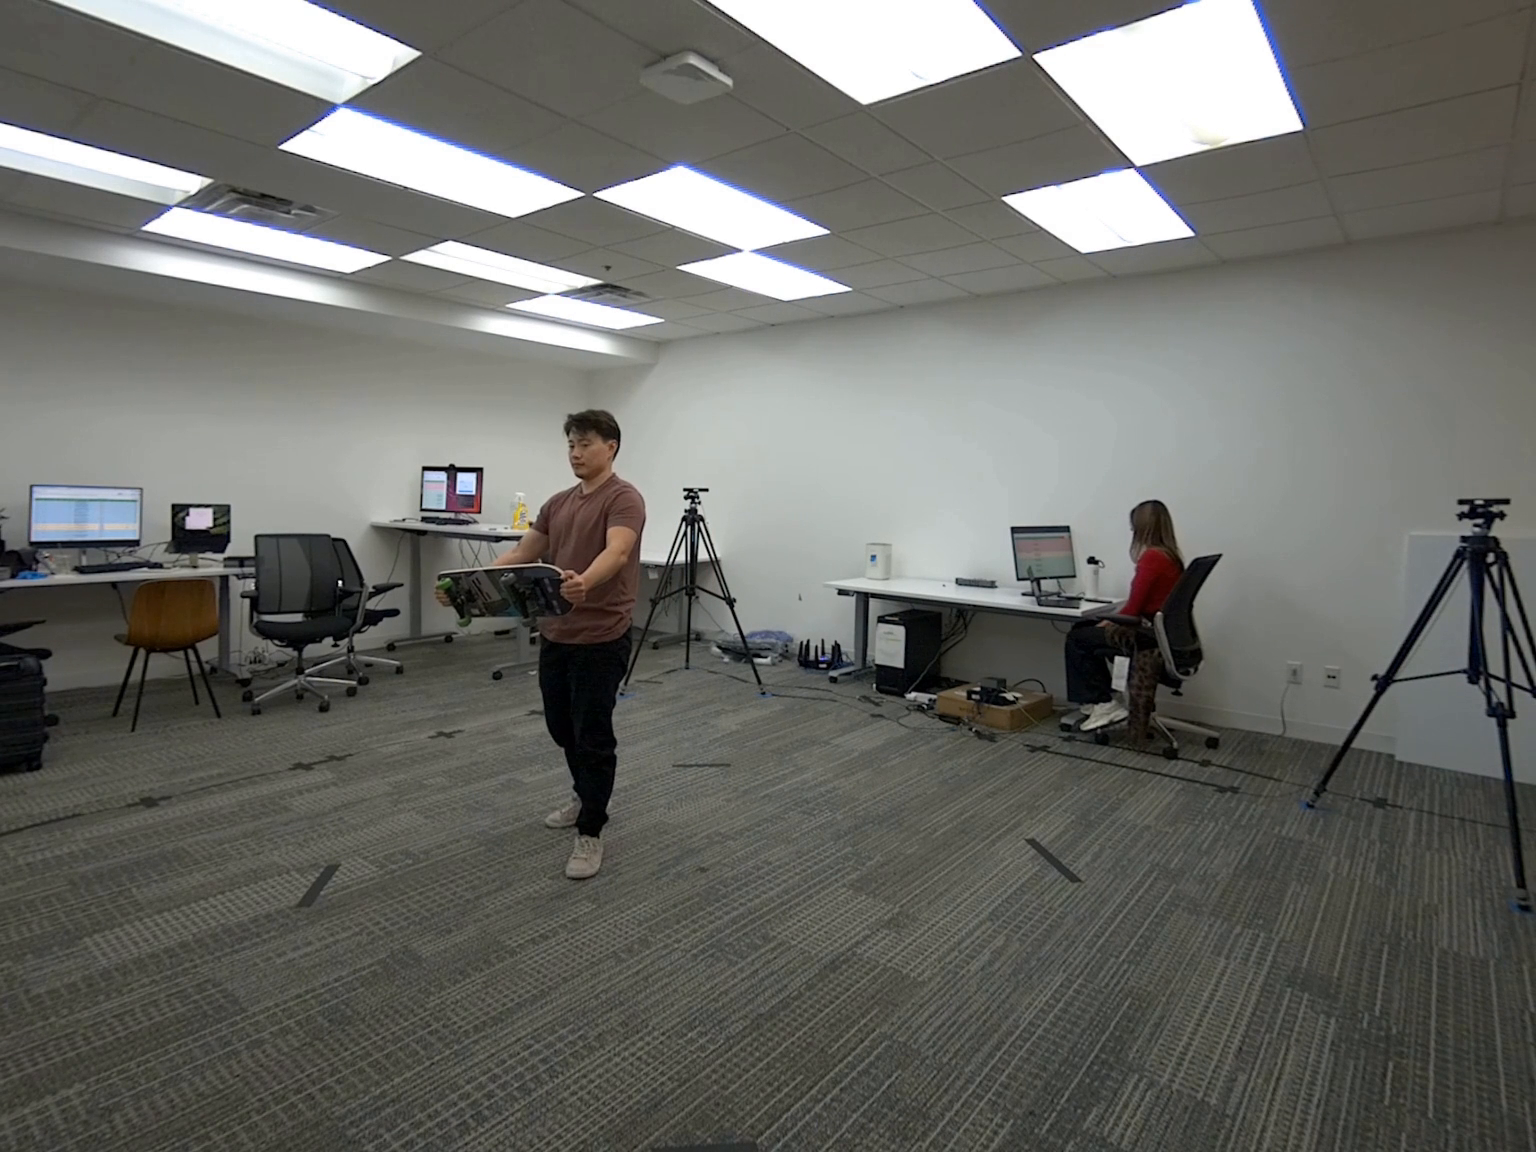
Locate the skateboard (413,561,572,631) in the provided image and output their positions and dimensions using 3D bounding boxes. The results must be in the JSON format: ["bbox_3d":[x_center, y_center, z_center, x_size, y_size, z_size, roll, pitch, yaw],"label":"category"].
[{"bbox_3d":[-0.947,0.066,2.899,0.808,0.189,0.110,-5,25,42],"label":"skateboard"}]
